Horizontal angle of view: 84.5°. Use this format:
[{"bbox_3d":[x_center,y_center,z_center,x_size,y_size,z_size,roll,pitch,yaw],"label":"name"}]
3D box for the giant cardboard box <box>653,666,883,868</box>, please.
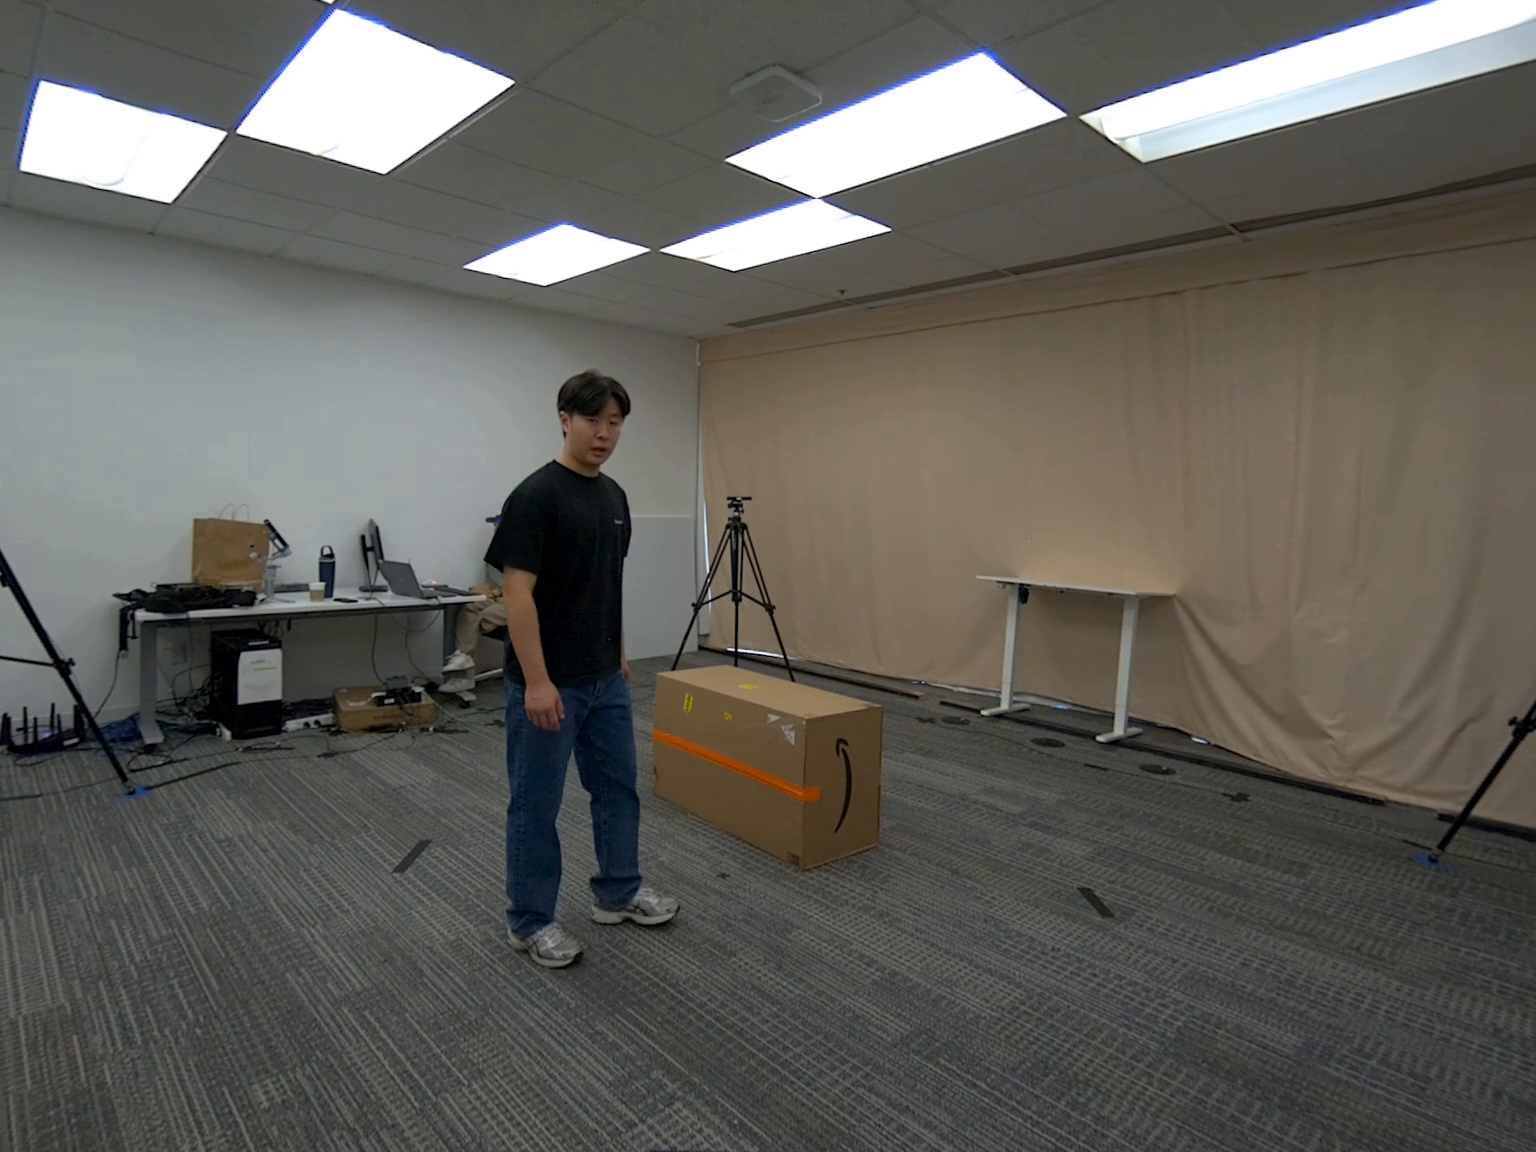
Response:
[{"bbox_3d":[-0.044,0.775,3.666,0.437,0.582,1.053,-2,5,-40],"label":"giant cardboard box"}]
